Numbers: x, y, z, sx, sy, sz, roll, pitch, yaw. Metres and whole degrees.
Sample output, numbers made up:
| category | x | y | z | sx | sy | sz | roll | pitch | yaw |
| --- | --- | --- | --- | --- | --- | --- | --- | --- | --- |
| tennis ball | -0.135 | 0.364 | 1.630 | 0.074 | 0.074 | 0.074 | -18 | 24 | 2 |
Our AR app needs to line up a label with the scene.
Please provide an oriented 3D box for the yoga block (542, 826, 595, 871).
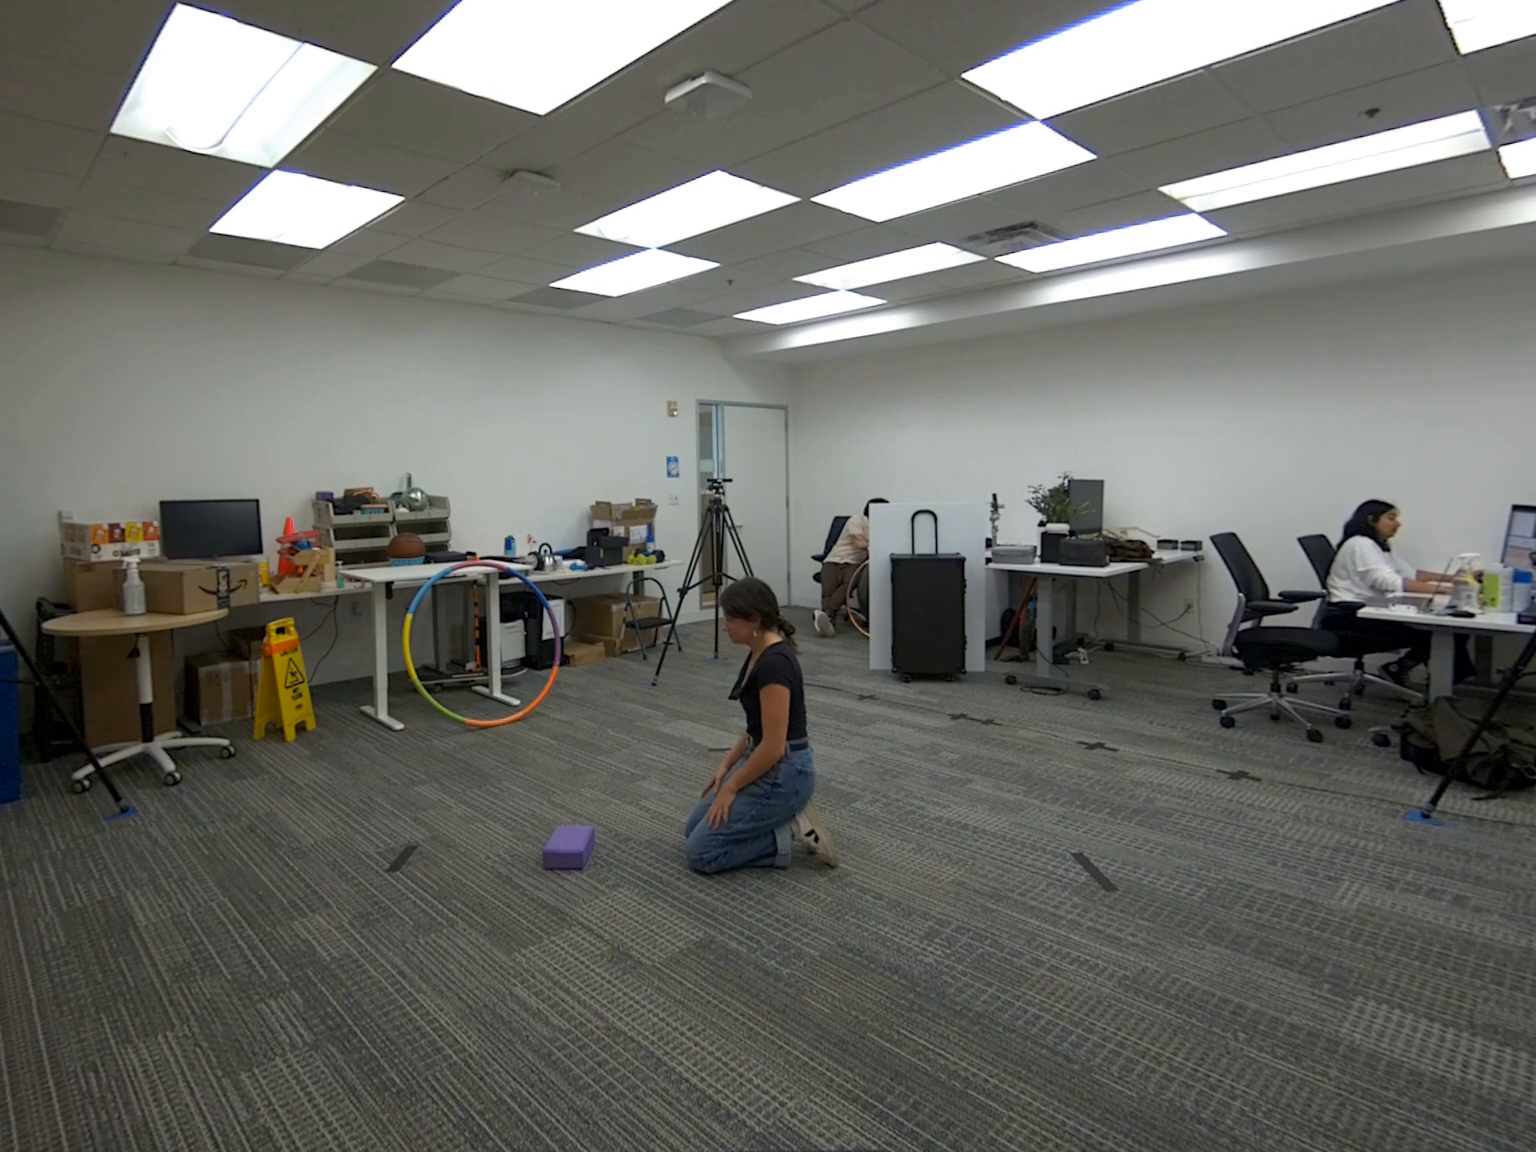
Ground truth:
| category | x | y | z | sx | sy | sz | roll | pitch | yaw |
| --- | --- | --- | --- | --- | --- | --- | --- | --- | --- |
| yoga block | -0.733 | 1.008 | 3.193 | 0.149 | 0.076 | 0.230 | 1 | 7 | 1 |
